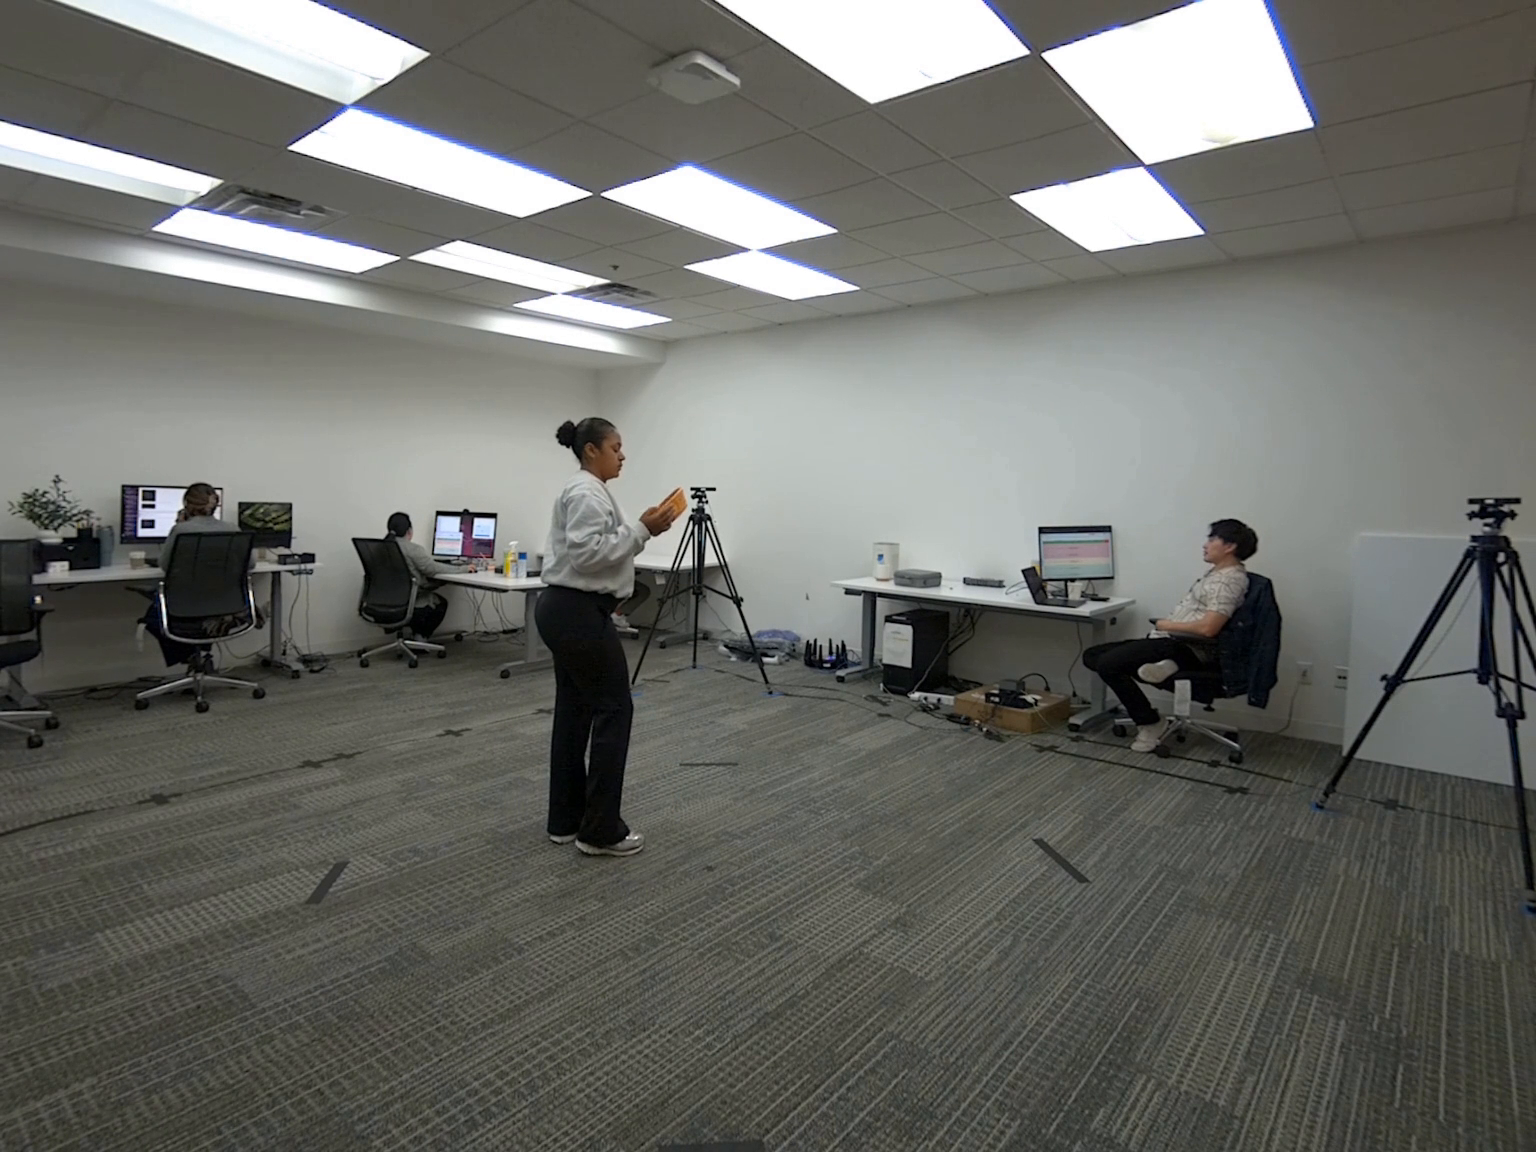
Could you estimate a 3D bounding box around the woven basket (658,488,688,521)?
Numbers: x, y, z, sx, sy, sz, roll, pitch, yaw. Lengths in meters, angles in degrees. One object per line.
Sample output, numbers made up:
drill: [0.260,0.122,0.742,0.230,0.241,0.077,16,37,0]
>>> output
woven basket: [-0.426,-0.245,3.350,0.072,0.252,0.355,44,-5,-11]
